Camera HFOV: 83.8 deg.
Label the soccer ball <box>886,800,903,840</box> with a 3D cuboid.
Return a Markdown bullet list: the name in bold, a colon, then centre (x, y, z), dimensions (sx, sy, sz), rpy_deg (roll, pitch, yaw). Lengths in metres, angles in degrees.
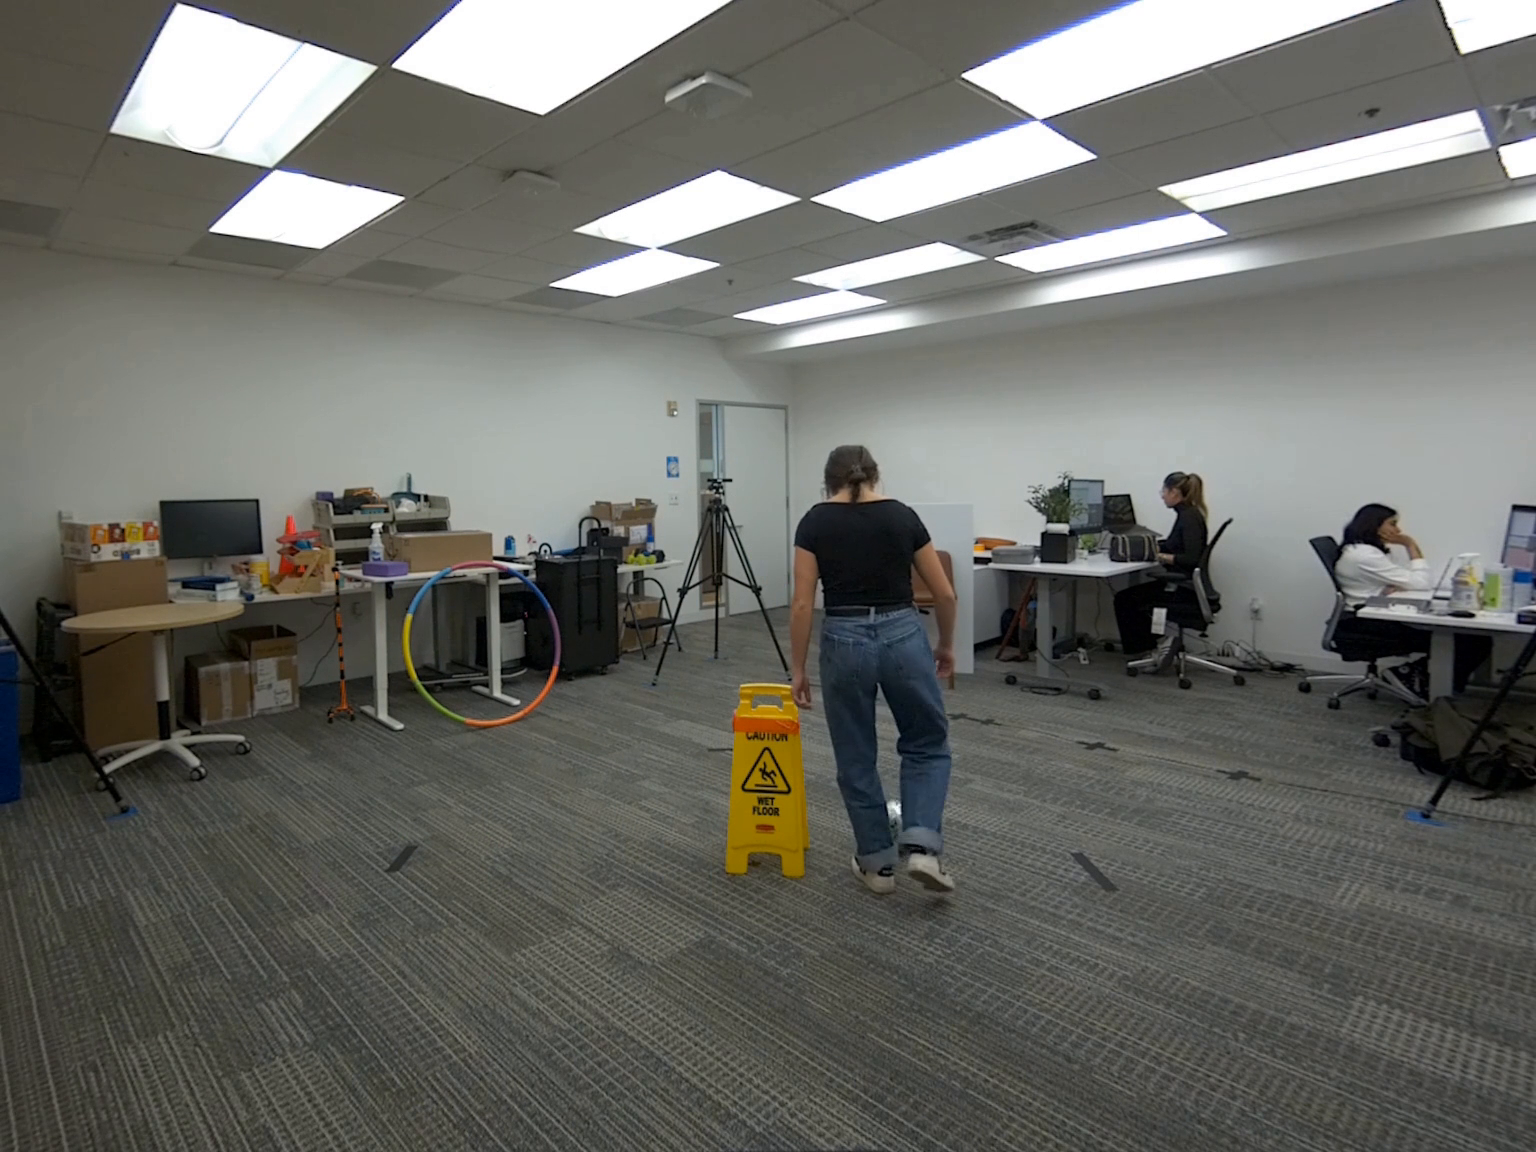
- **soccer ball**: centre (0.487, 0.944, 3.183), dimensions (0.187, 0.187, 0.188), rpy_deg (-1, 5, -2)
